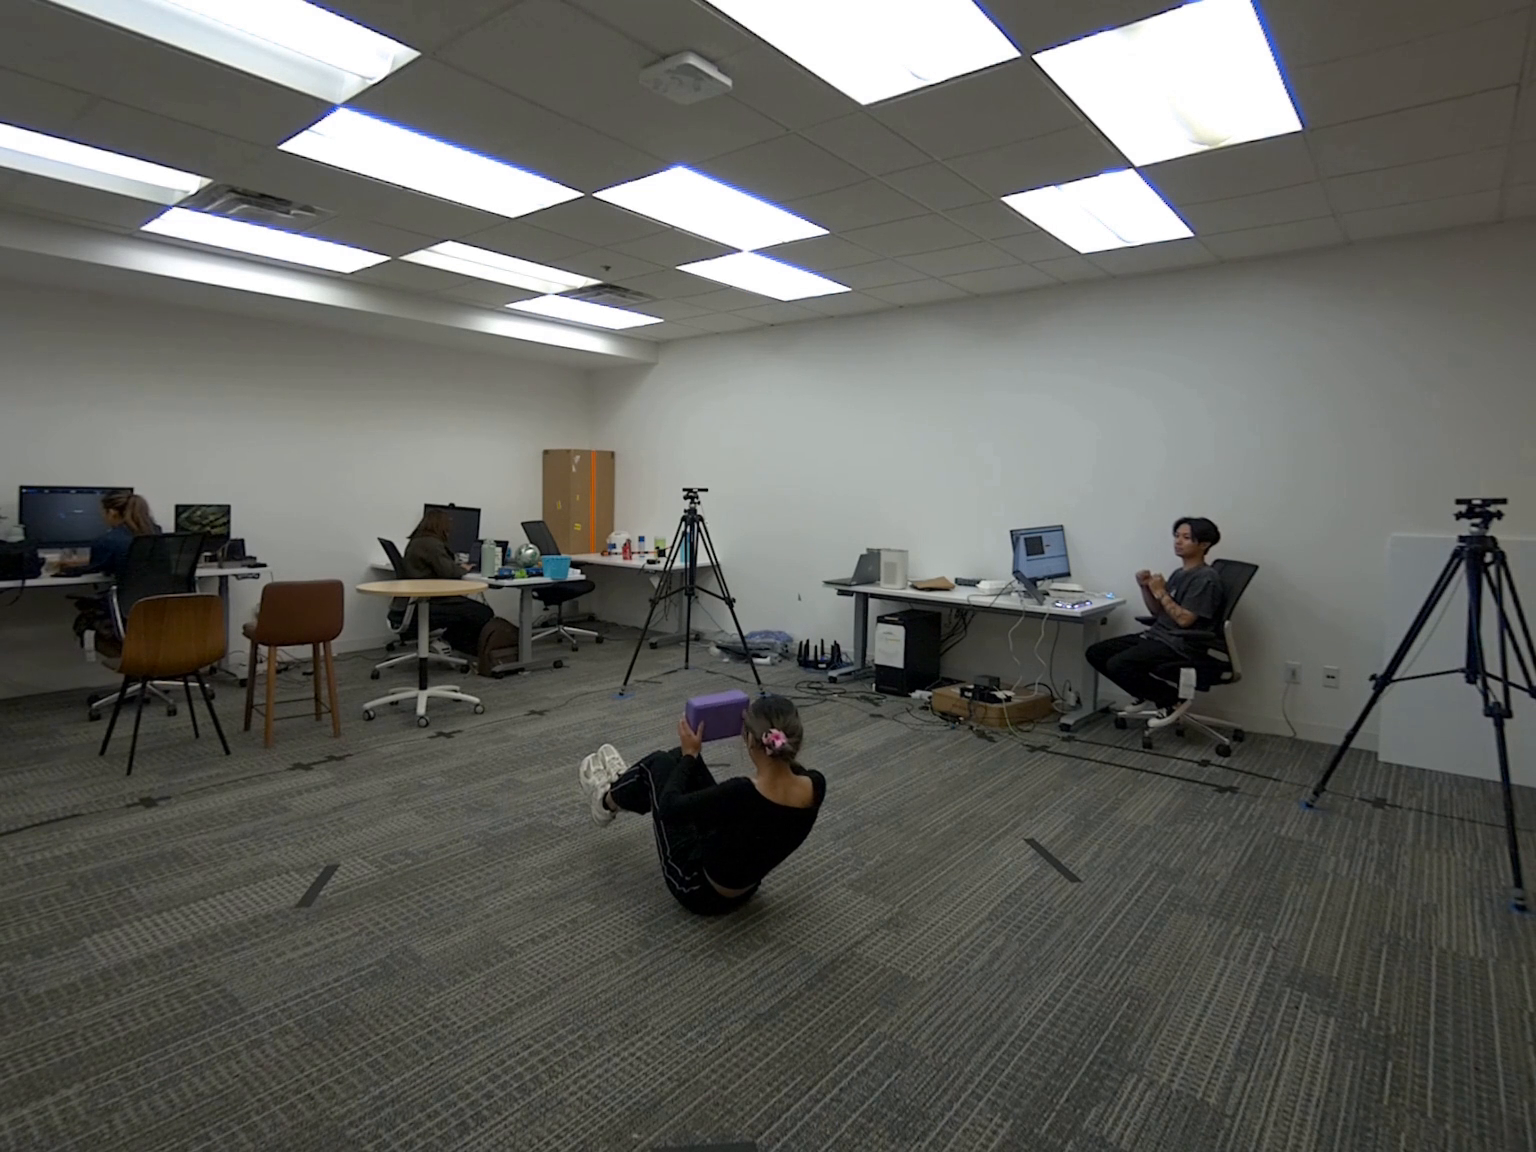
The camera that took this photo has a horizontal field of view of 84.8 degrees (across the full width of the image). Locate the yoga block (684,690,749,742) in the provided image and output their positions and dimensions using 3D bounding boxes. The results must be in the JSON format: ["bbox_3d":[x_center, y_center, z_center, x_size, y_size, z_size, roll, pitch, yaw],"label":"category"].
[{"bbox_3d":[-0.186,0.497,2.984,0.223,0.147,0.079,-3,17,-28],"label":"yoga block"}]
